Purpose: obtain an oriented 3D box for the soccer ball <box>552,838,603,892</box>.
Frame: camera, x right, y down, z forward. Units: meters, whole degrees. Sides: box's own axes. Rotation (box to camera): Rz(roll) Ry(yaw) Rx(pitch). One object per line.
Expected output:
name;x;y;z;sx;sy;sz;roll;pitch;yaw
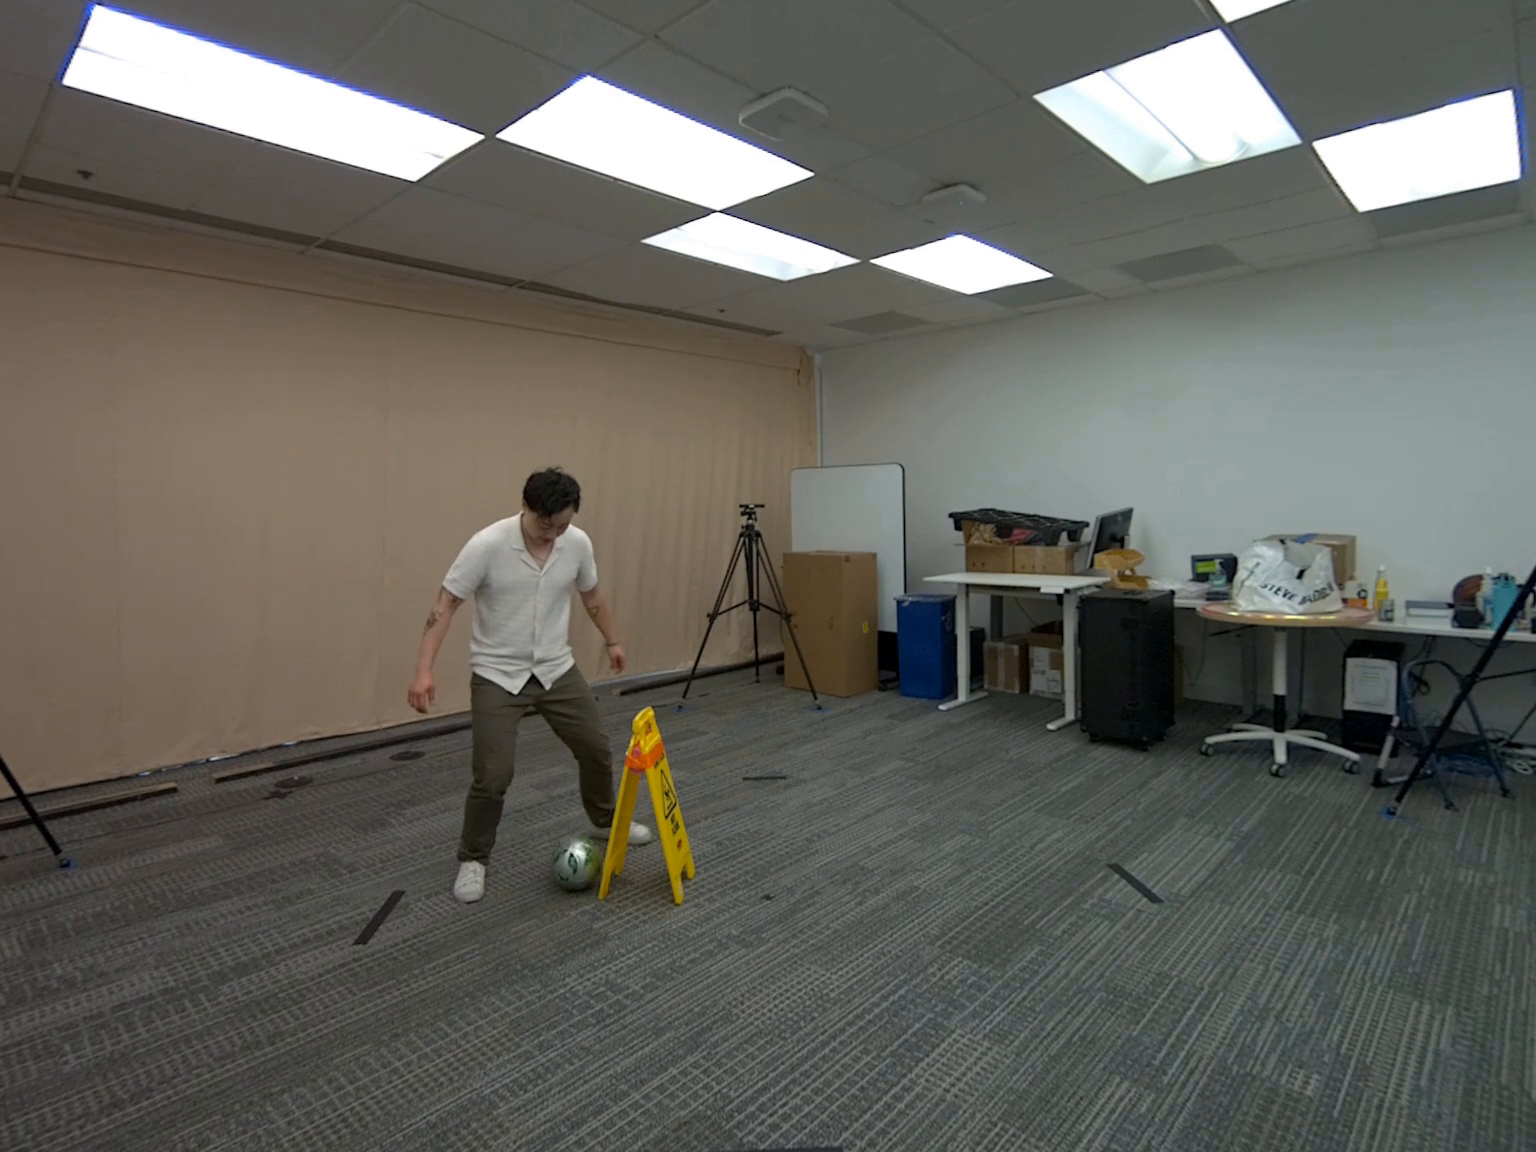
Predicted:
soccer ball;-0.700;1.056;3.095;0.187;0.187;0.188;-1;4;-2
